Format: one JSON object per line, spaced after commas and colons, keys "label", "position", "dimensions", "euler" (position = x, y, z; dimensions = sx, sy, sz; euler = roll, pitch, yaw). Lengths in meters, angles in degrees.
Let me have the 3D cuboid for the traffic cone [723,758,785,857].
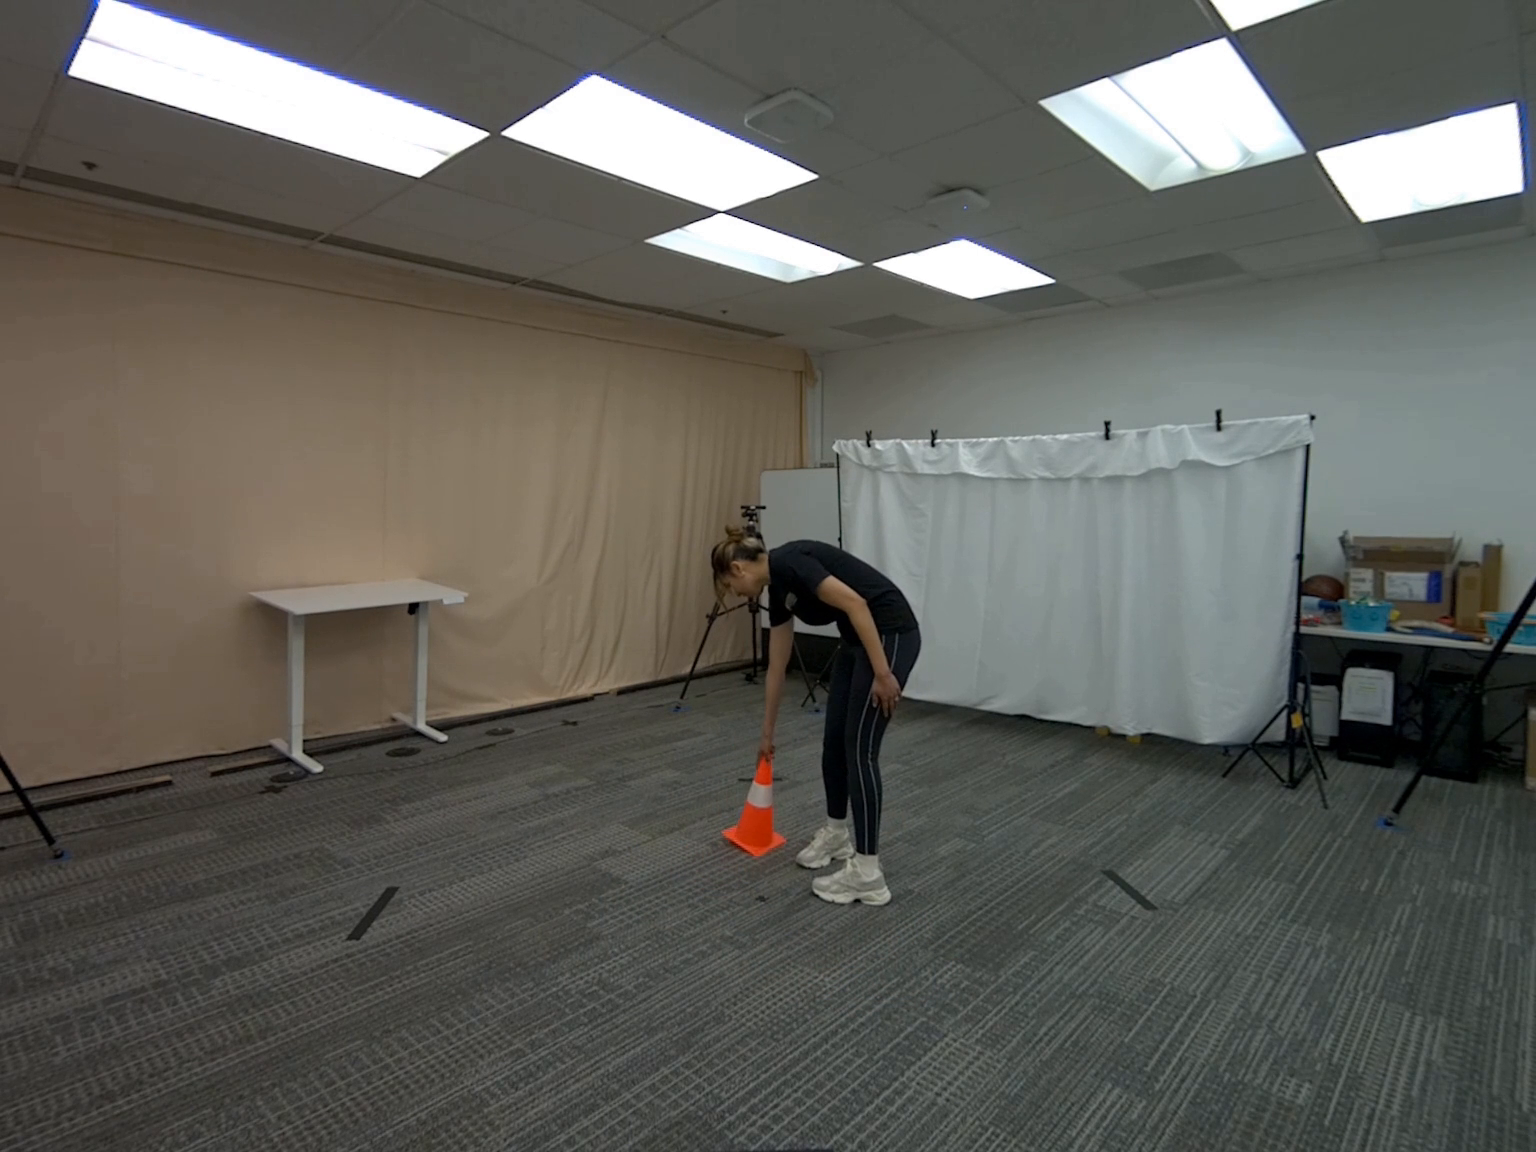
{"label": "traffic cone", "position": [-0.026, 0.903, 3.418], "dimensions": [0.211, 0.381, 0.199], "euler": [16, 17, 26]}
